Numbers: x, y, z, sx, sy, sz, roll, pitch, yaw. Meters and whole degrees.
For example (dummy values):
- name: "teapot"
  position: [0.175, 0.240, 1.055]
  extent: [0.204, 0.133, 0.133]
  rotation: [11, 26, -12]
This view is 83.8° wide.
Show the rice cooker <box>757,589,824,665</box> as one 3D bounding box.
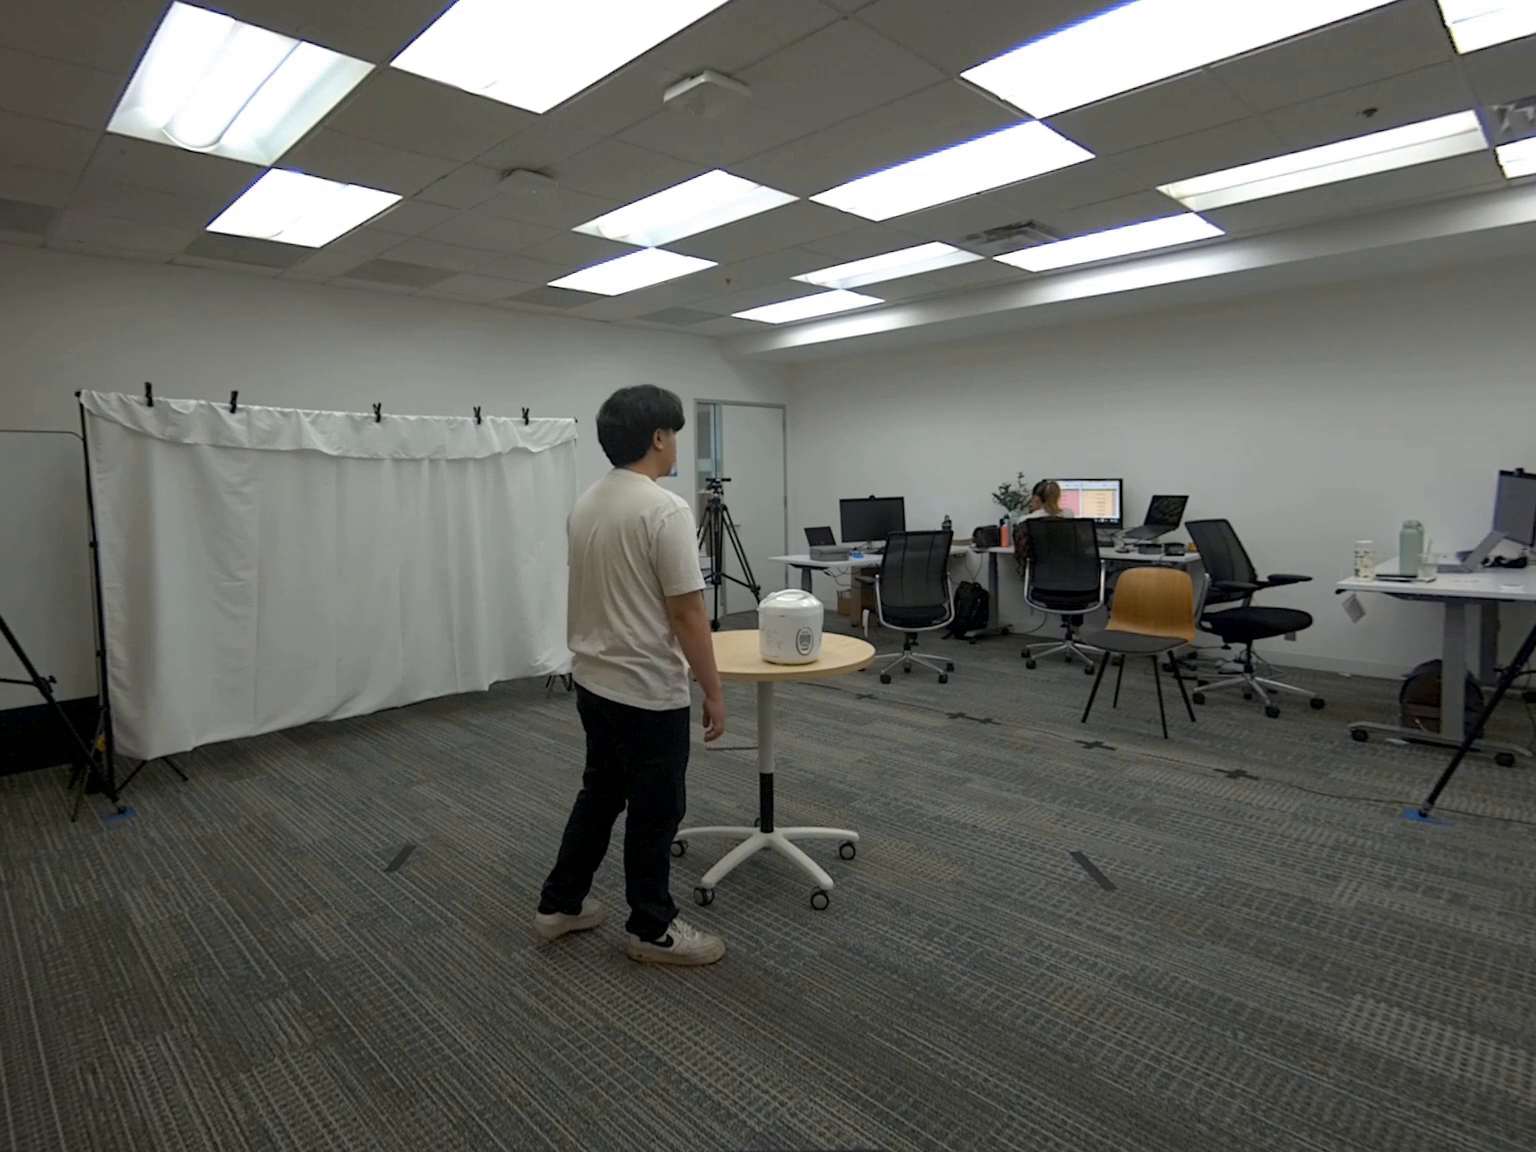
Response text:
- name: "rice cooker"
  position: [0.080, 0.161, 2.804]
  extent: [0.216, 0.232, 0.222]
  rotation: [-3, 4, -21]
